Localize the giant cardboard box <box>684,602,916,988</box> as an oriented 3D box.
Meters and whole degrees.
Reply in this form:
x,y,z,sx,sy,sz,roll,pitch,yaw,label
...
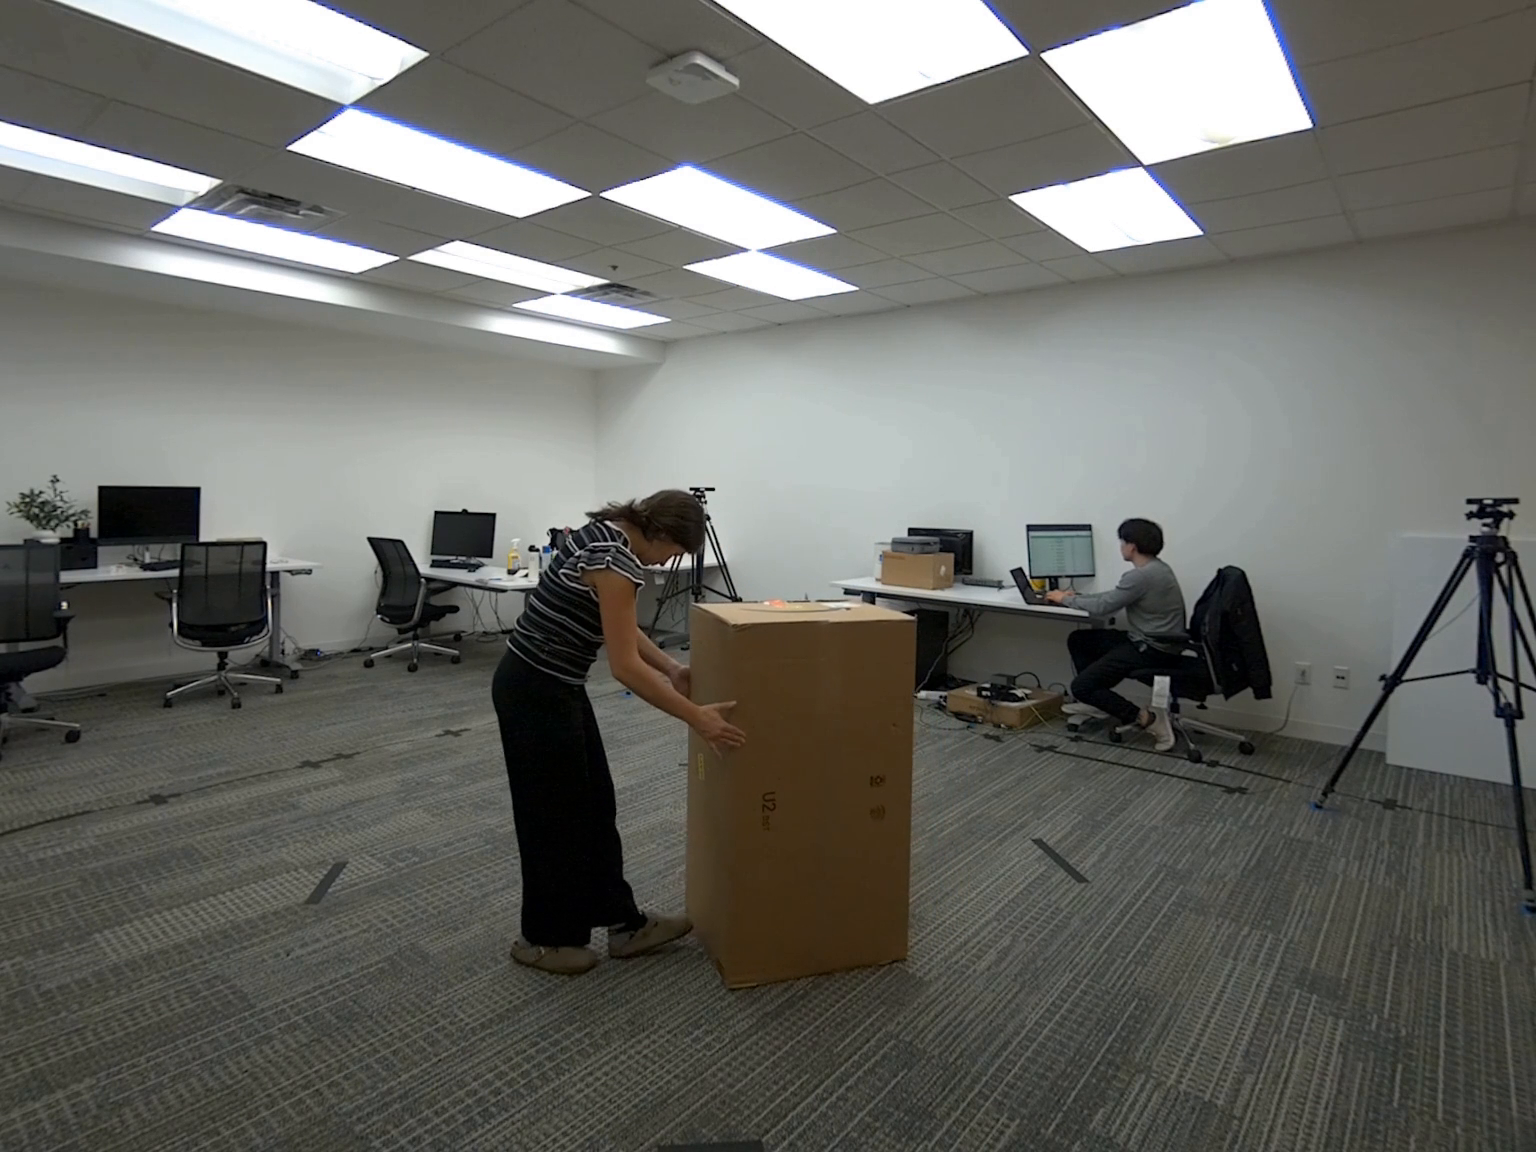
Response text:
x,y,z,sx,sy,sz,roll,pitch,yaw,label
0.077,0.609,2.619,0.566,1.022,0.436,0,4,-20,giant cardboard box
